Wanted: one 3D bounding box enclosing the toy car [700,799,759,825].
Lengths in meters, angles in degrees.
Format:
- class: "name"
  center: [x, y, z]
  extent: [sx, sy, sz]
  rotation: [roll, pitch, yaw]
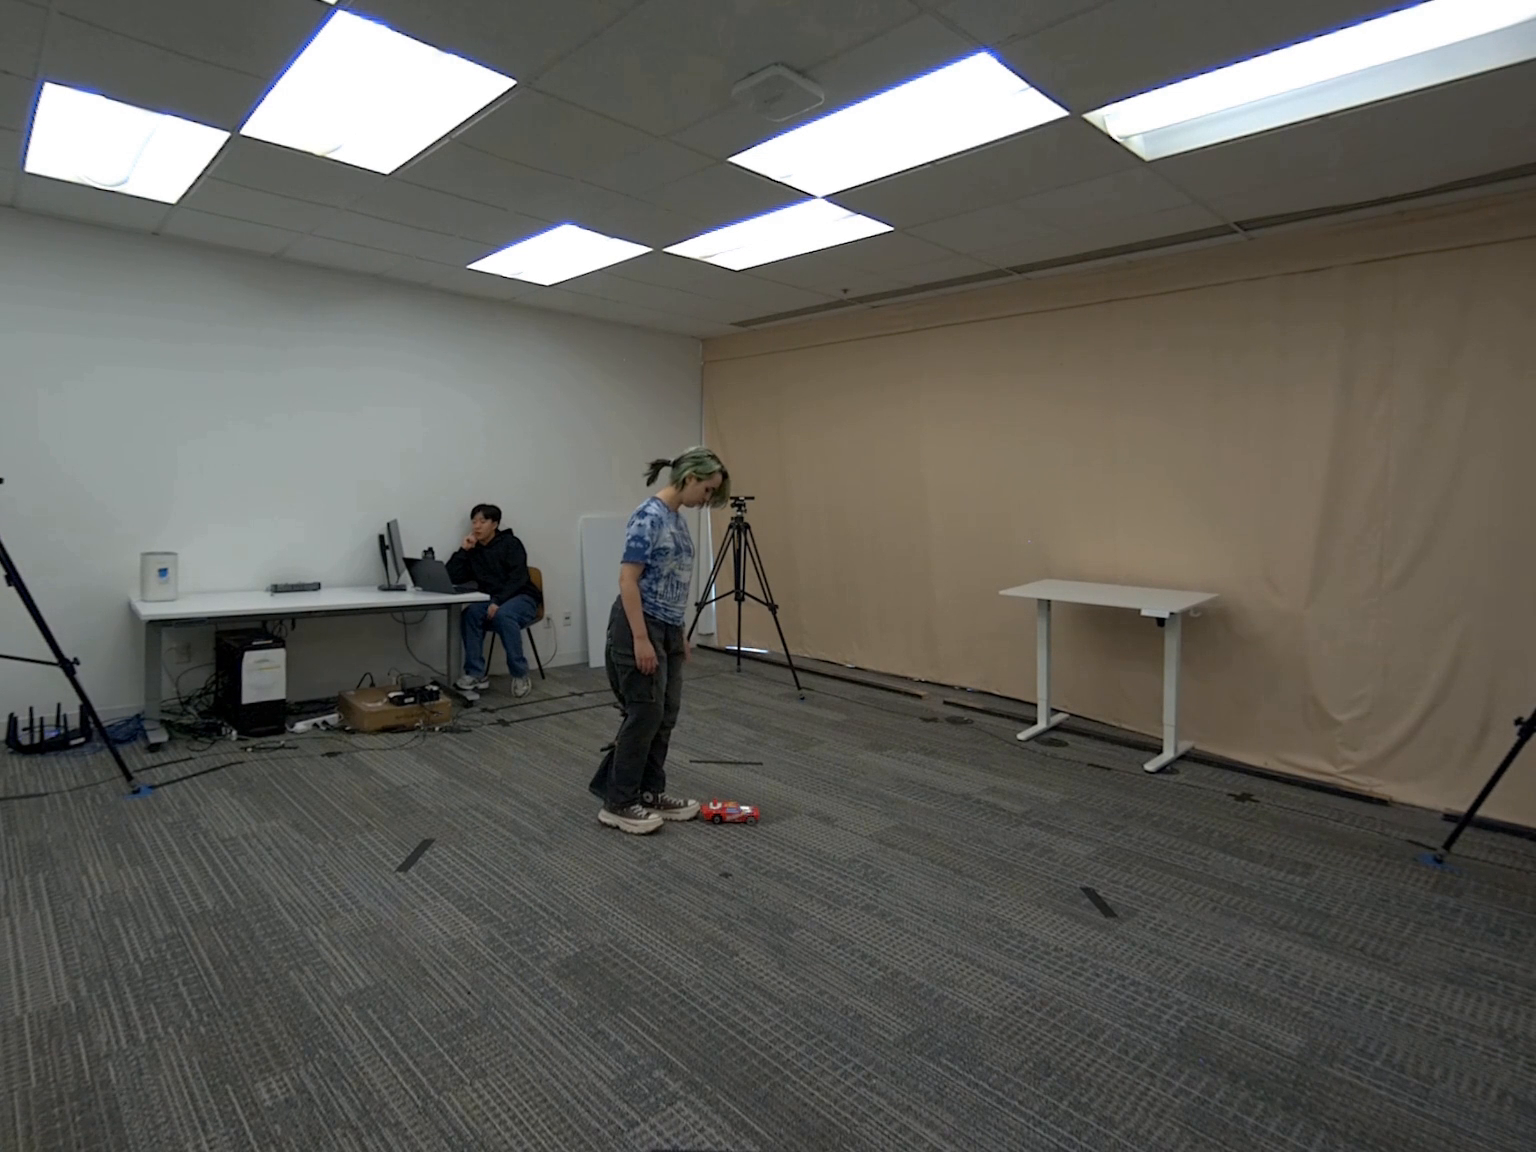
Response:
- class: "toy car"
  center: [-0.182, 1.025, 3.643]
  extent: [0.254, 0.083, 0.131]
  rotation: [14, 5, -1]
